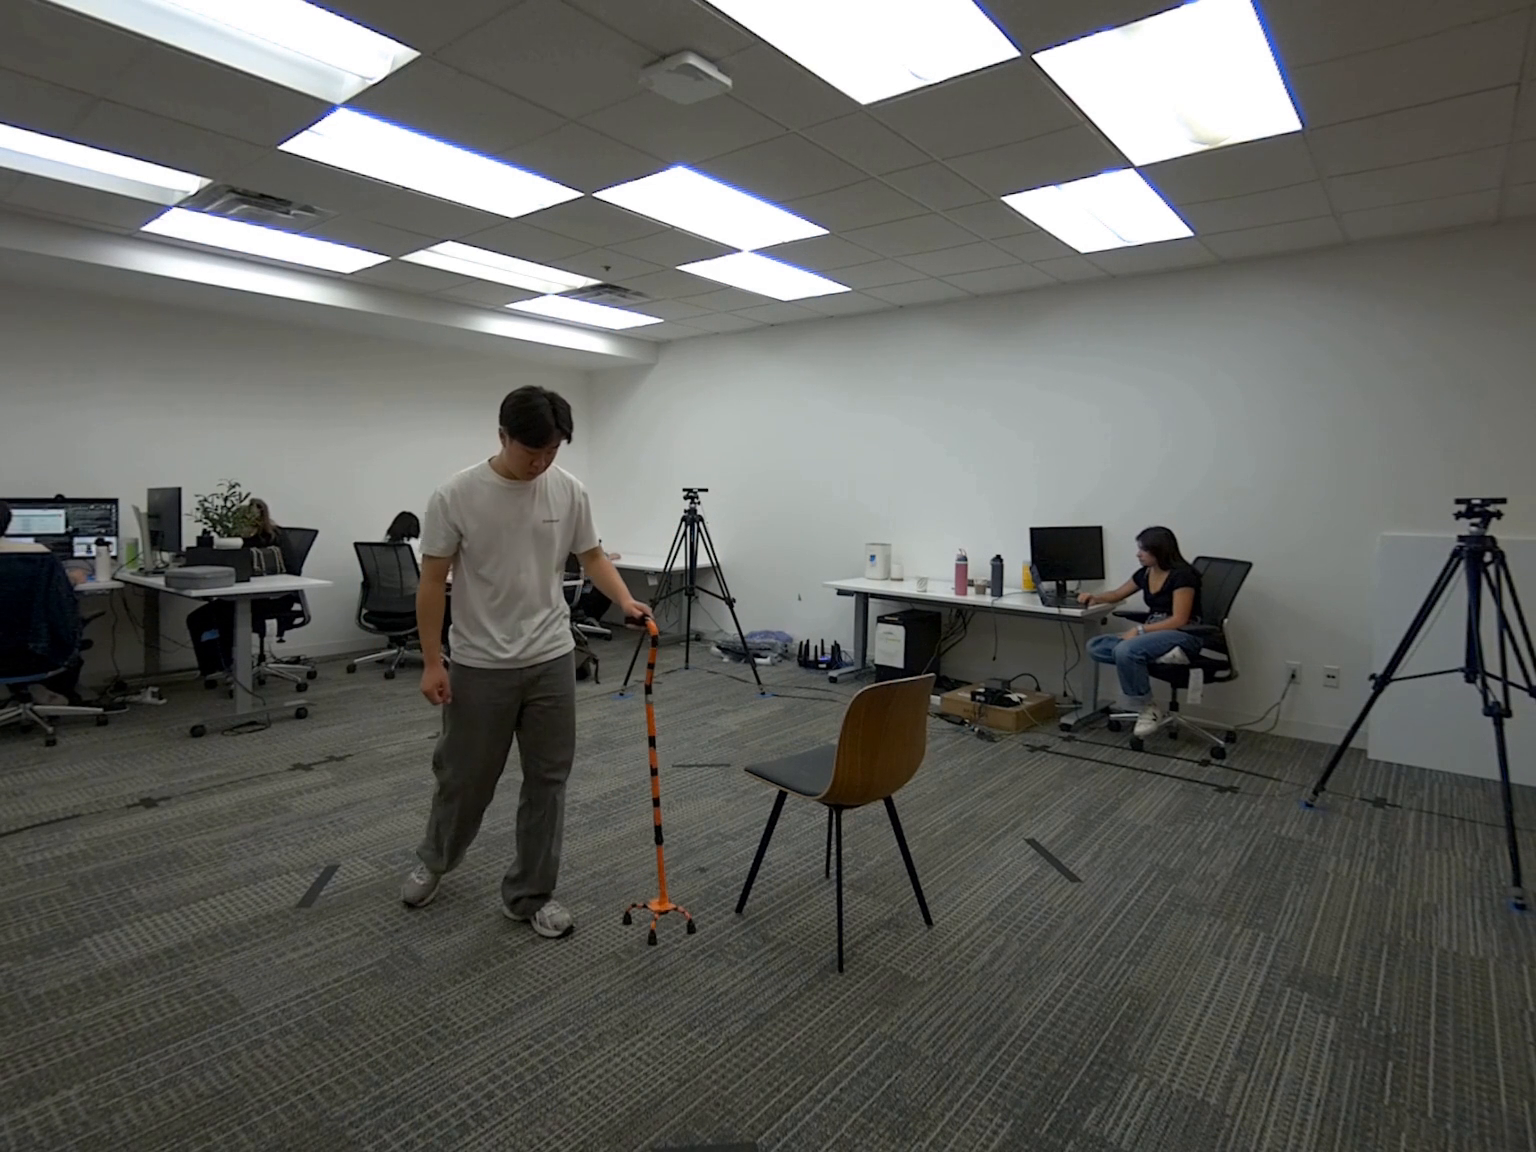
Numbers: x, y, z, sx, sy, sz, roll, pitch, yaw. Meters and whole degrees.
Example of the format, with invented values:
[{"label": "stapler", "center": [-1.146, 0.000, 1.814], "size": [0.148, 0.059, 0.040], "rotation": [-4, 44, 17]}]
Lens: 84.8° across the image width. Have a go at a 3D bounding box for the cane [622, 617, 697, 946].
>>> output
[{"label": "cane", "center": [-0.358, 0.586, 2.512], "size": [0.147, 0.911, 0.212], "rotation": [-1, -4, -34]}]
